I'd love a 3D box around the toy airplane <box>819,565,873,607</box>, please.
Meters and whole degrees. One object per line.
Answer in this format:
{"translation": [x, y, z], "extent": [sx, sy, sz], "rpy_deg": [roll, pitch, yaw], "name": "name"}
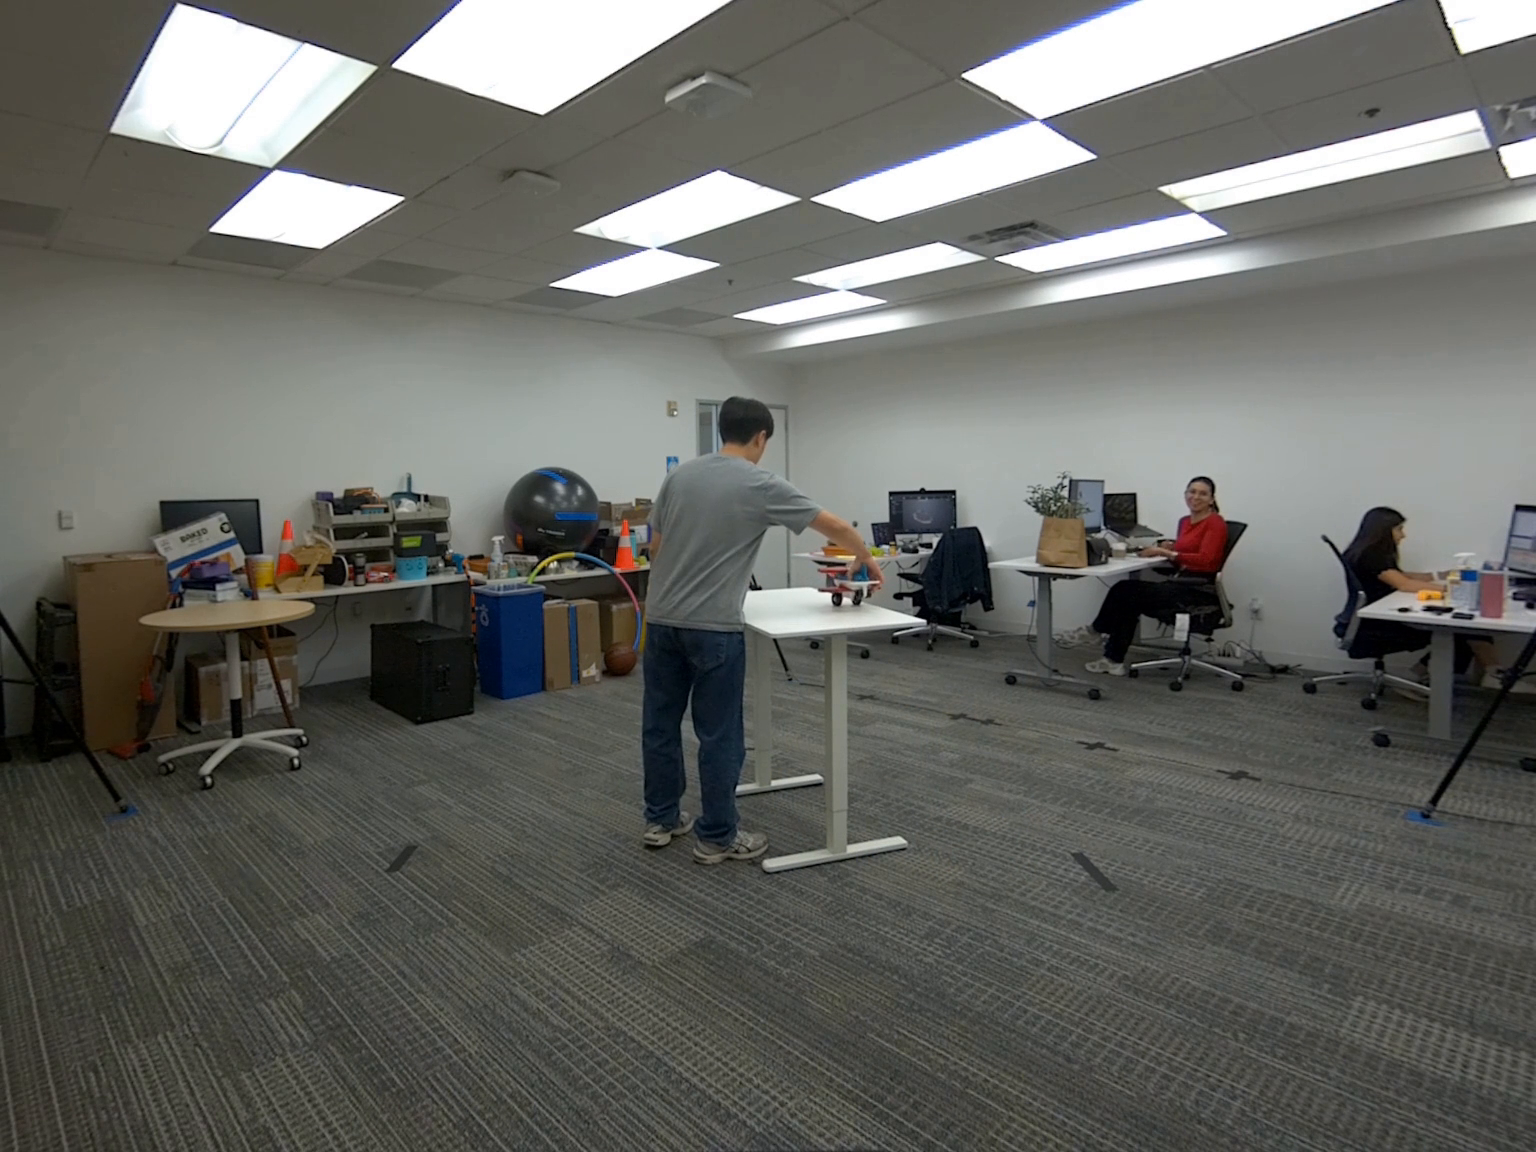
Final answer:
{"translation": [0.350, 0.027, 3.374], "extent": [0.243, 0.158, 0.264], "rpy_deg": [4, -14, -43], "name": "toy airplane"}
